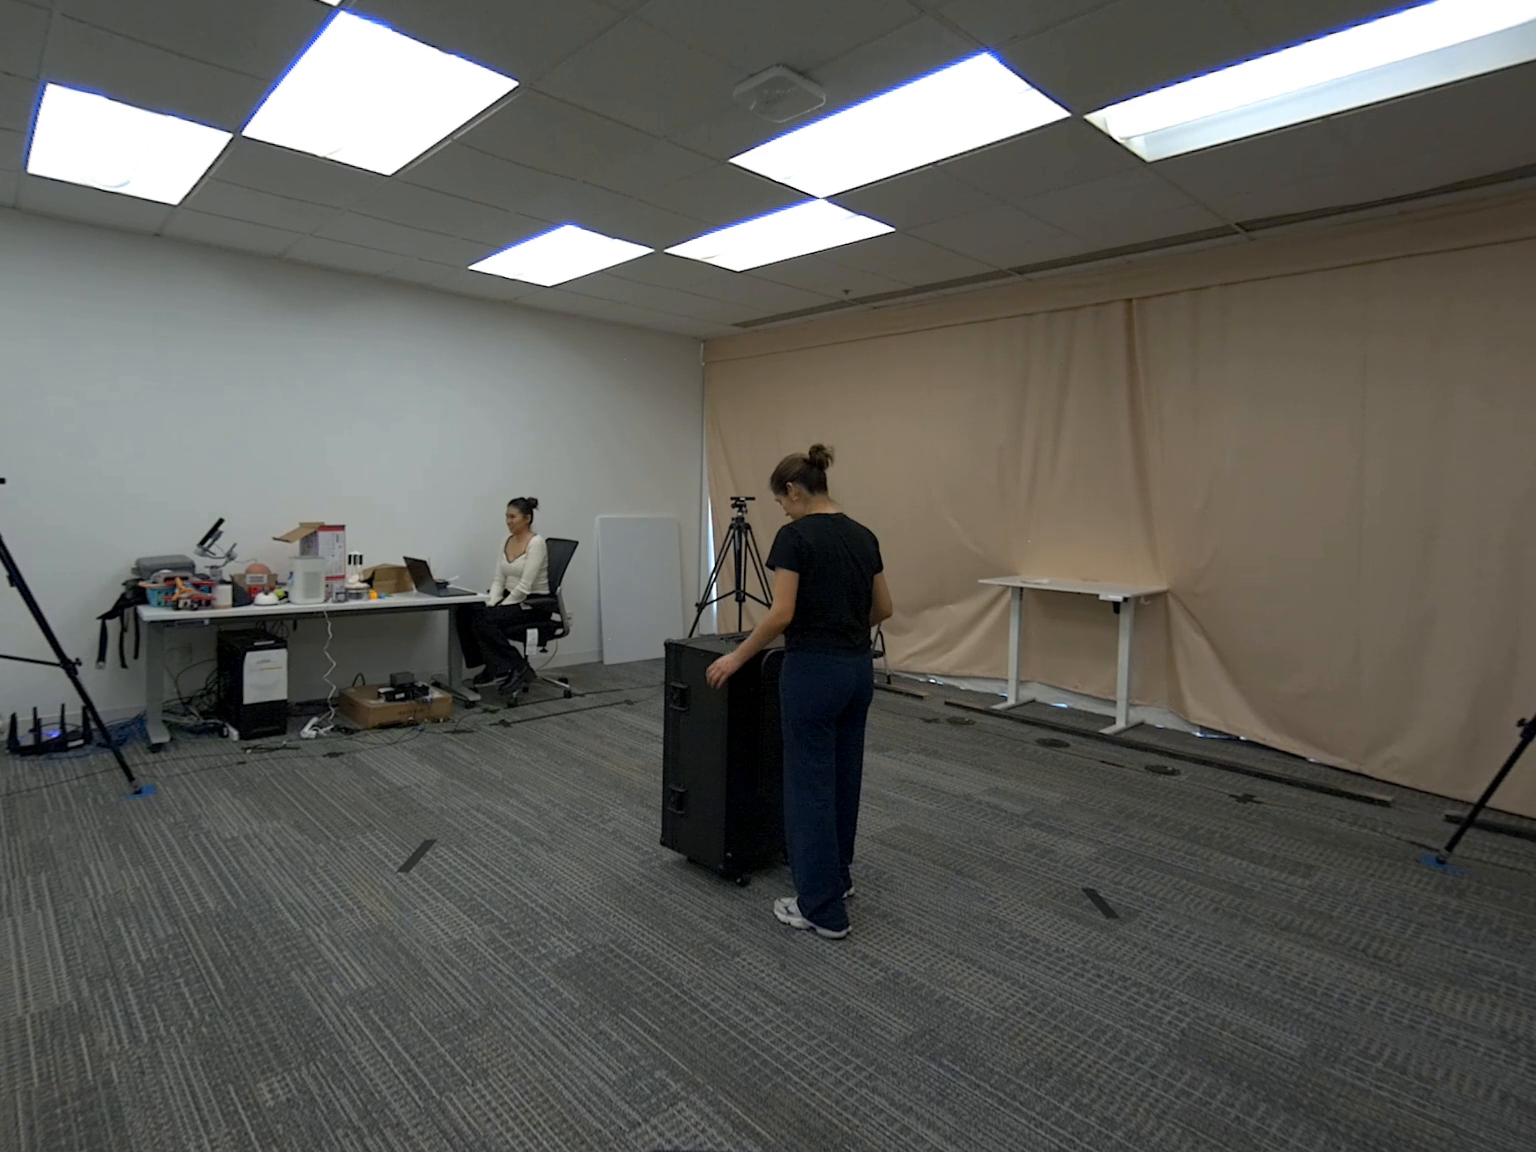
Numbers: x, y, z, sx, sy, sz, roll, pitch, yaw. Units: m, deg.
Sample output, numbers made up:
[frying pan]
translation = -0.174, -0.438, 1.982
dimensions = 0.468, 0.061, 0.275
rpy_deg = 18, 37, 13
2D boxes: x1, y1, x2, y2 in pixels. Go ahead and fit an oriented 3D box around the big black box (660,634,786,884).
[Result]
[big black box]
translation = -0.102, 0.619, 3.194
dimensions = 0.509, 0.860, 0.406
rpy_deg = -2, 4, -45
